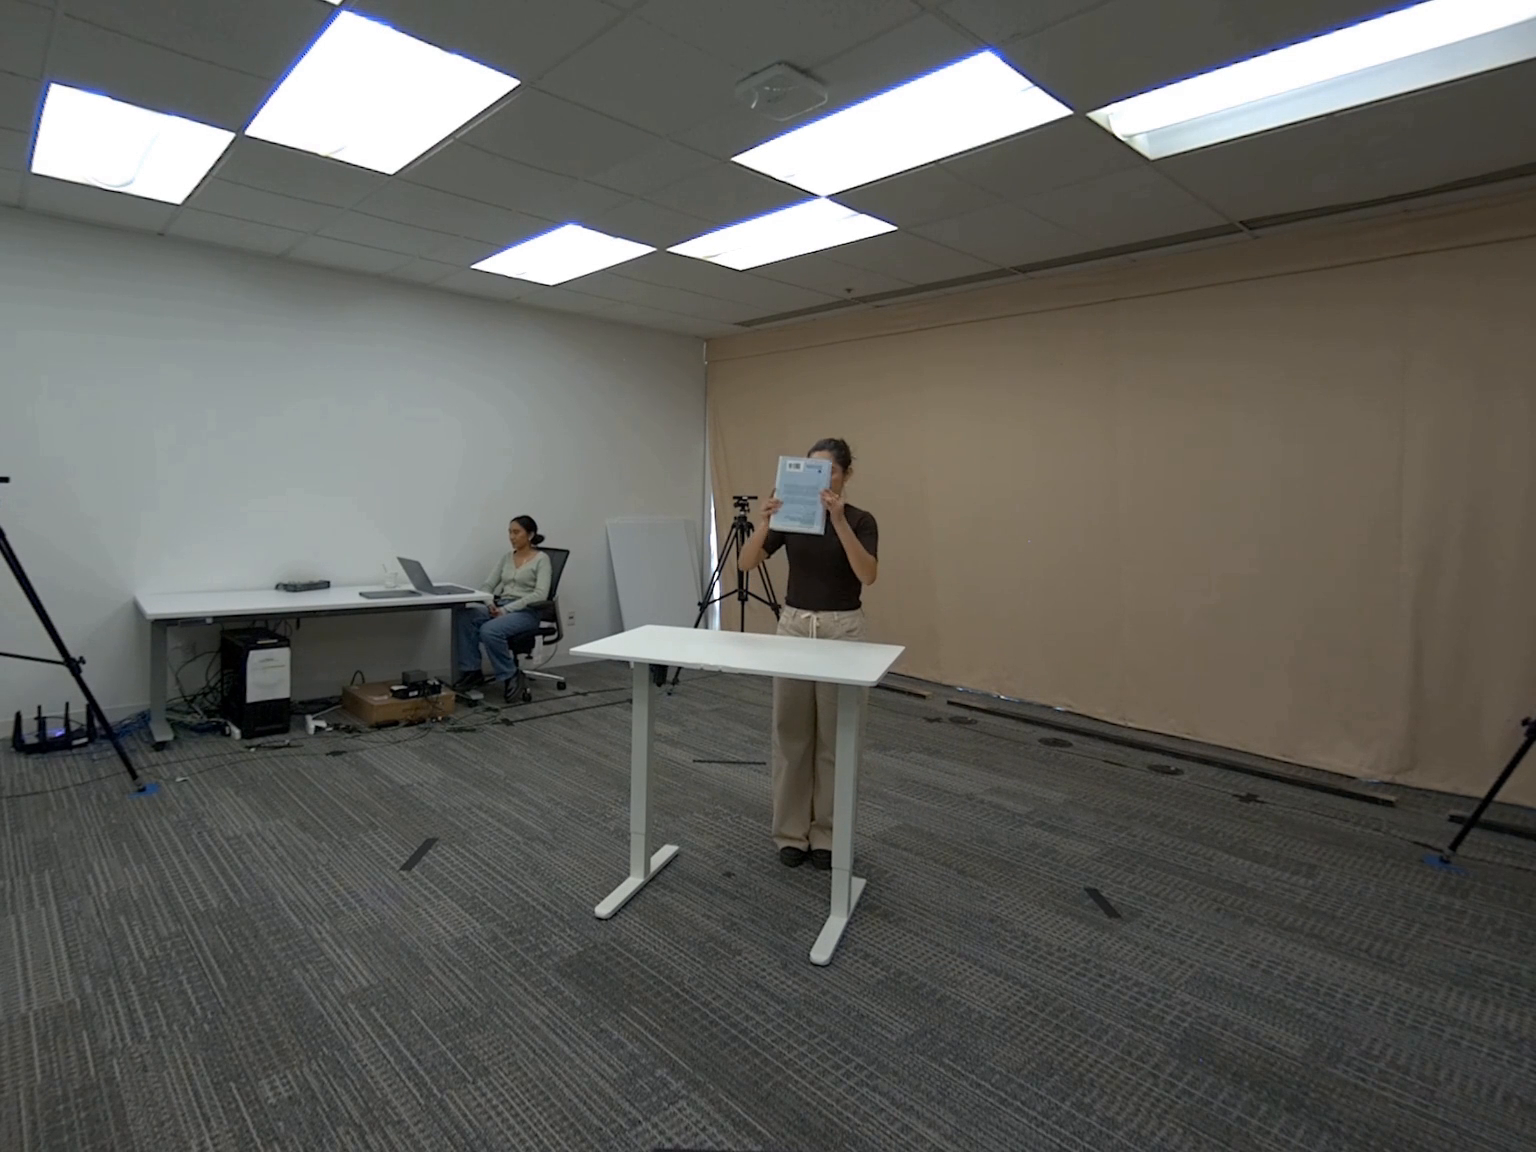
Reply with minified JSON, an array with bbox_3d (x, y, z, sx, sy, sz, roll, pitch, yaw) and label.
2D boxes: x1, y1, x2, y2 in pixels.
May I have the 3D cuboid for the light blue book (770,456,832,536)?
[{"bbox_3d":[0.119,-0.286,2.997,0.194,0.262,0.058,7,-5,17],"label":"light blue book"}]
